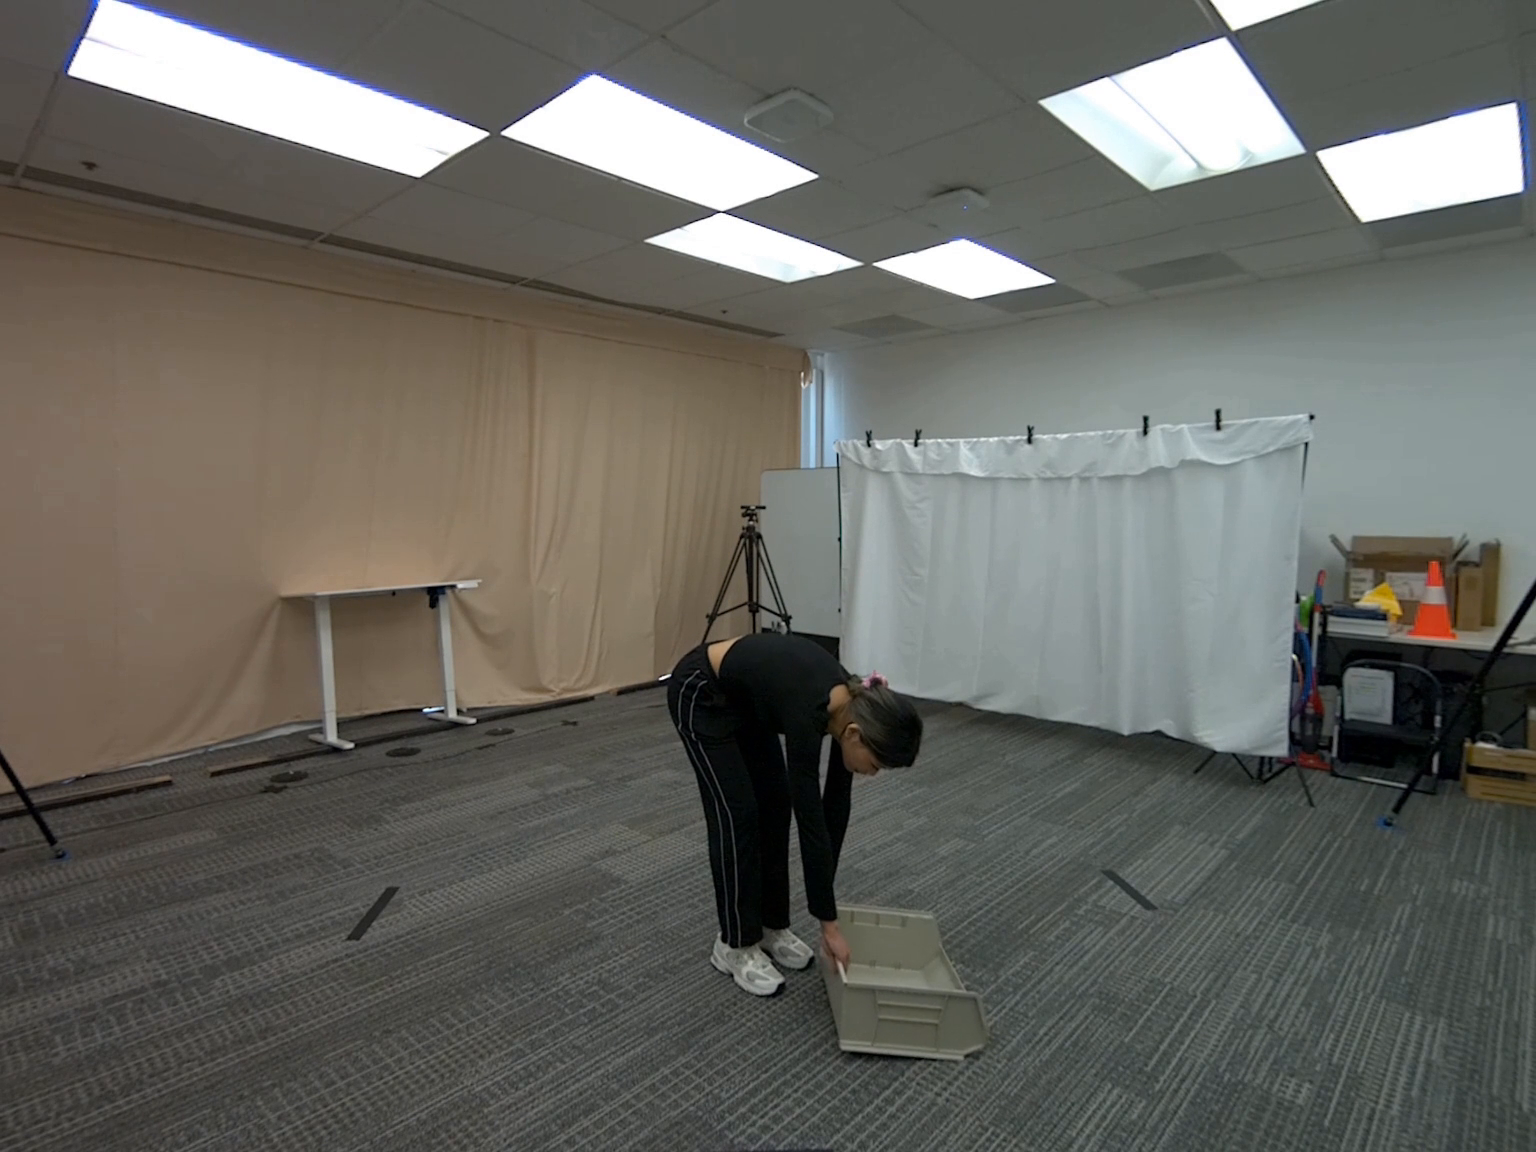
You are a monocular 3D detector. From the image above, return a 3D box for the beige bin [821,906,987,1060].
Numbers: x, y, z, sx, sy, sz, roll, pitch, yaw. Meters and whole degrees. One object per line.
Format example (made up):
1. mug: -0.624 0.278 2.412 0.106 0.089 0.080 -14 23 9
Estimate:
1. beige bin: 0.353 1.104 2.305 0.376 0.188 0.425 4 6 -5
